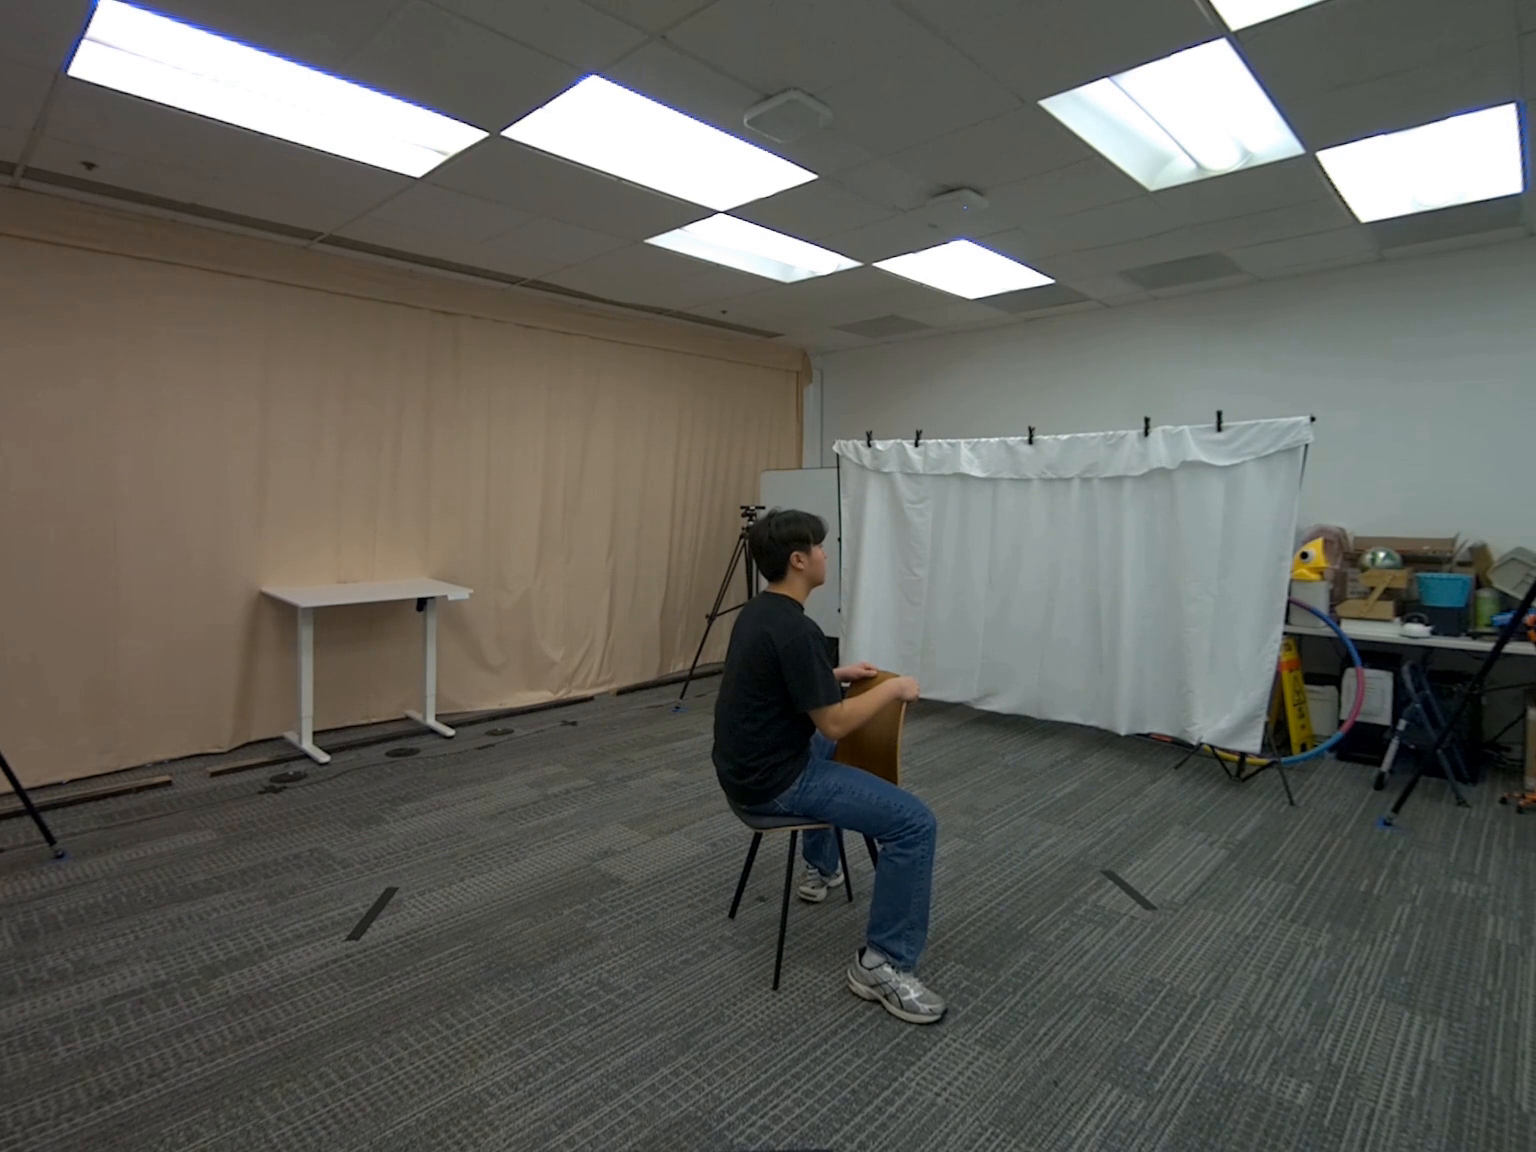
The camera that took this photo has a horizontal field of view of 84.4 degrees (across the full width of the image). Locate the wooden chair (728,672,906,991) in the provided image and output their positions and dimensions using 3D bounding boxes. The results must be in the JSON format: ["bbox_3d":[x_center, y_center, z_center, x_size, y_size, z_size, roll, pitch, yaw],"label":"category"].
[{"bbox_3d":[0.149,0.746,2.665,0.513,0.876,0.488,2,3,-18],"label":"wooden chair"}]
